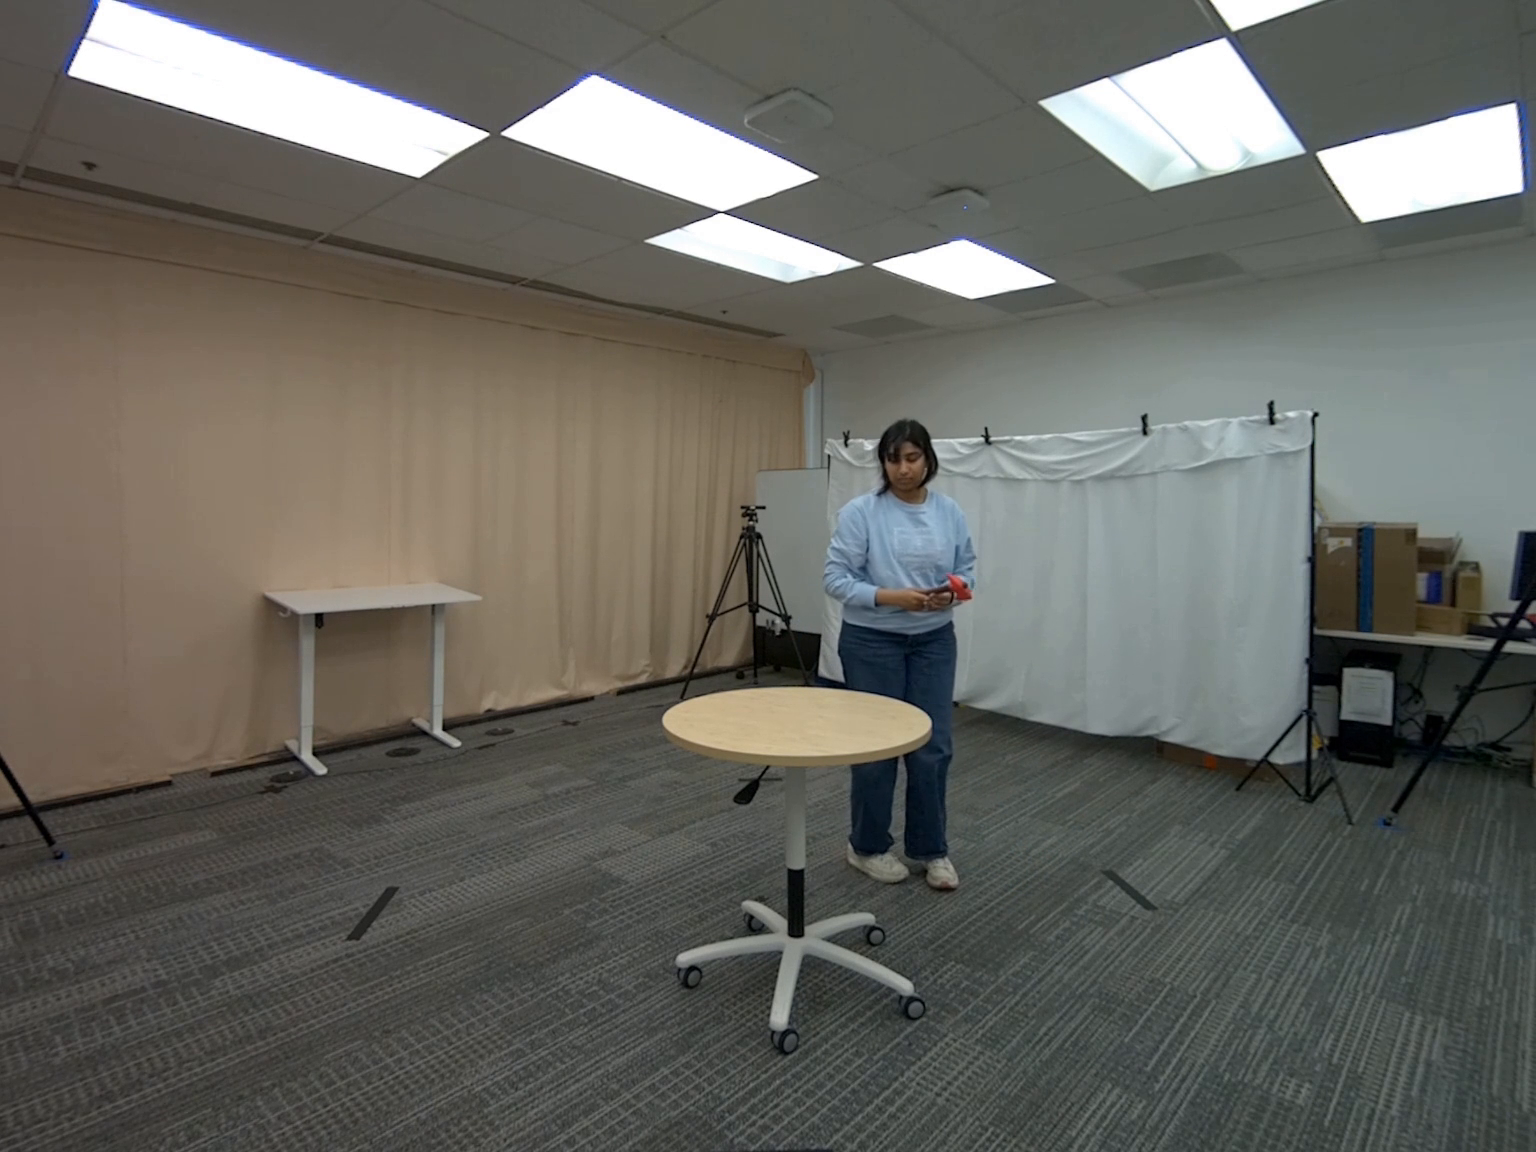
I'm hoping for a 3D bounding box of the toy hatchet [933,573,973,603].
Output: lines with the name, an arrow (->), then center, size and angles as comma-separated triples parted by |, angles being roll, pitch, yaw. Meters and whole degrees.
toy hatchet -> 0.575, 0.075, 2.869 | 0.130, 0.029, 0.272 | 32, -28, -8
